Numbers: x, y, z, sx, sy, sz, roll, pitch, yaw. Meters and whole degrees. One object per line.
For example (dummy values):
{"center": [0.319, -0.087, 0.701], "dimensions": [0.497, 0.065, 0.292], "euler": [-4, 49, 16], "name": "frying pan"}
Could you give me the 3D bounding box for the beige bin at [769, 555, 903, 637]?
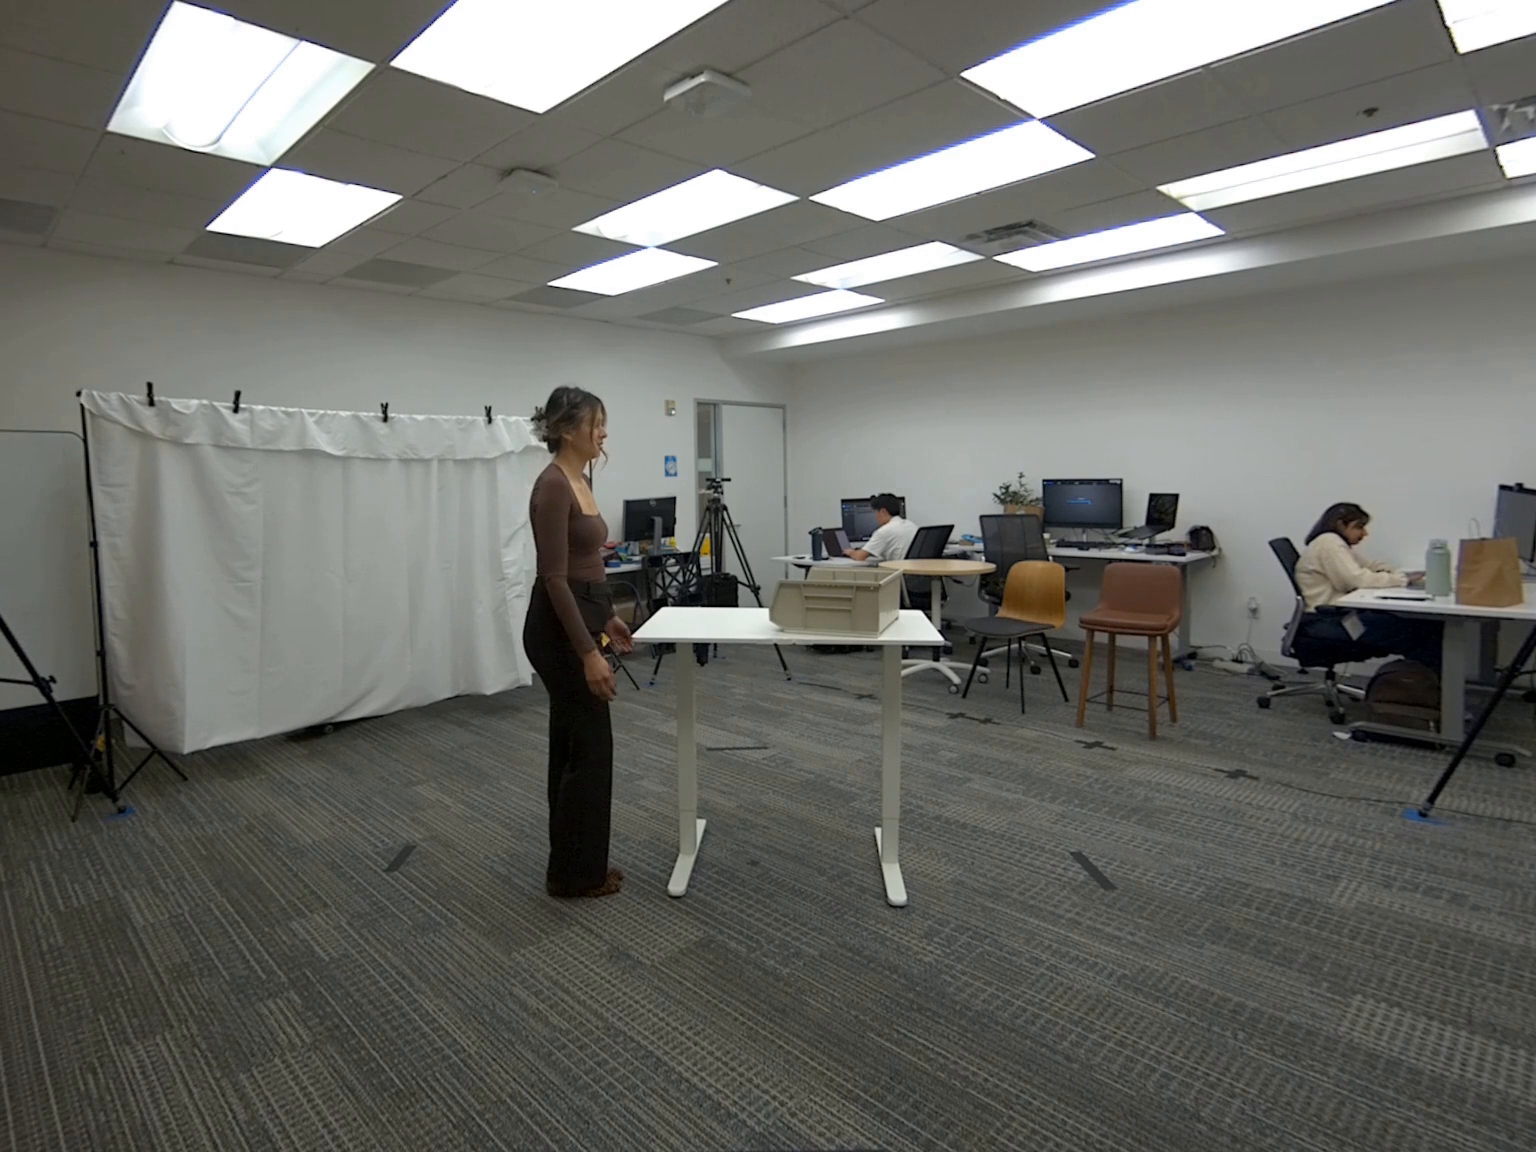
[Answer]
{"center": [0.238, 0.083, 2.968], "dimensions": [0.385, 0.188, 0.416], "euler": [3, 7, 20], "name": "beige bin"}
